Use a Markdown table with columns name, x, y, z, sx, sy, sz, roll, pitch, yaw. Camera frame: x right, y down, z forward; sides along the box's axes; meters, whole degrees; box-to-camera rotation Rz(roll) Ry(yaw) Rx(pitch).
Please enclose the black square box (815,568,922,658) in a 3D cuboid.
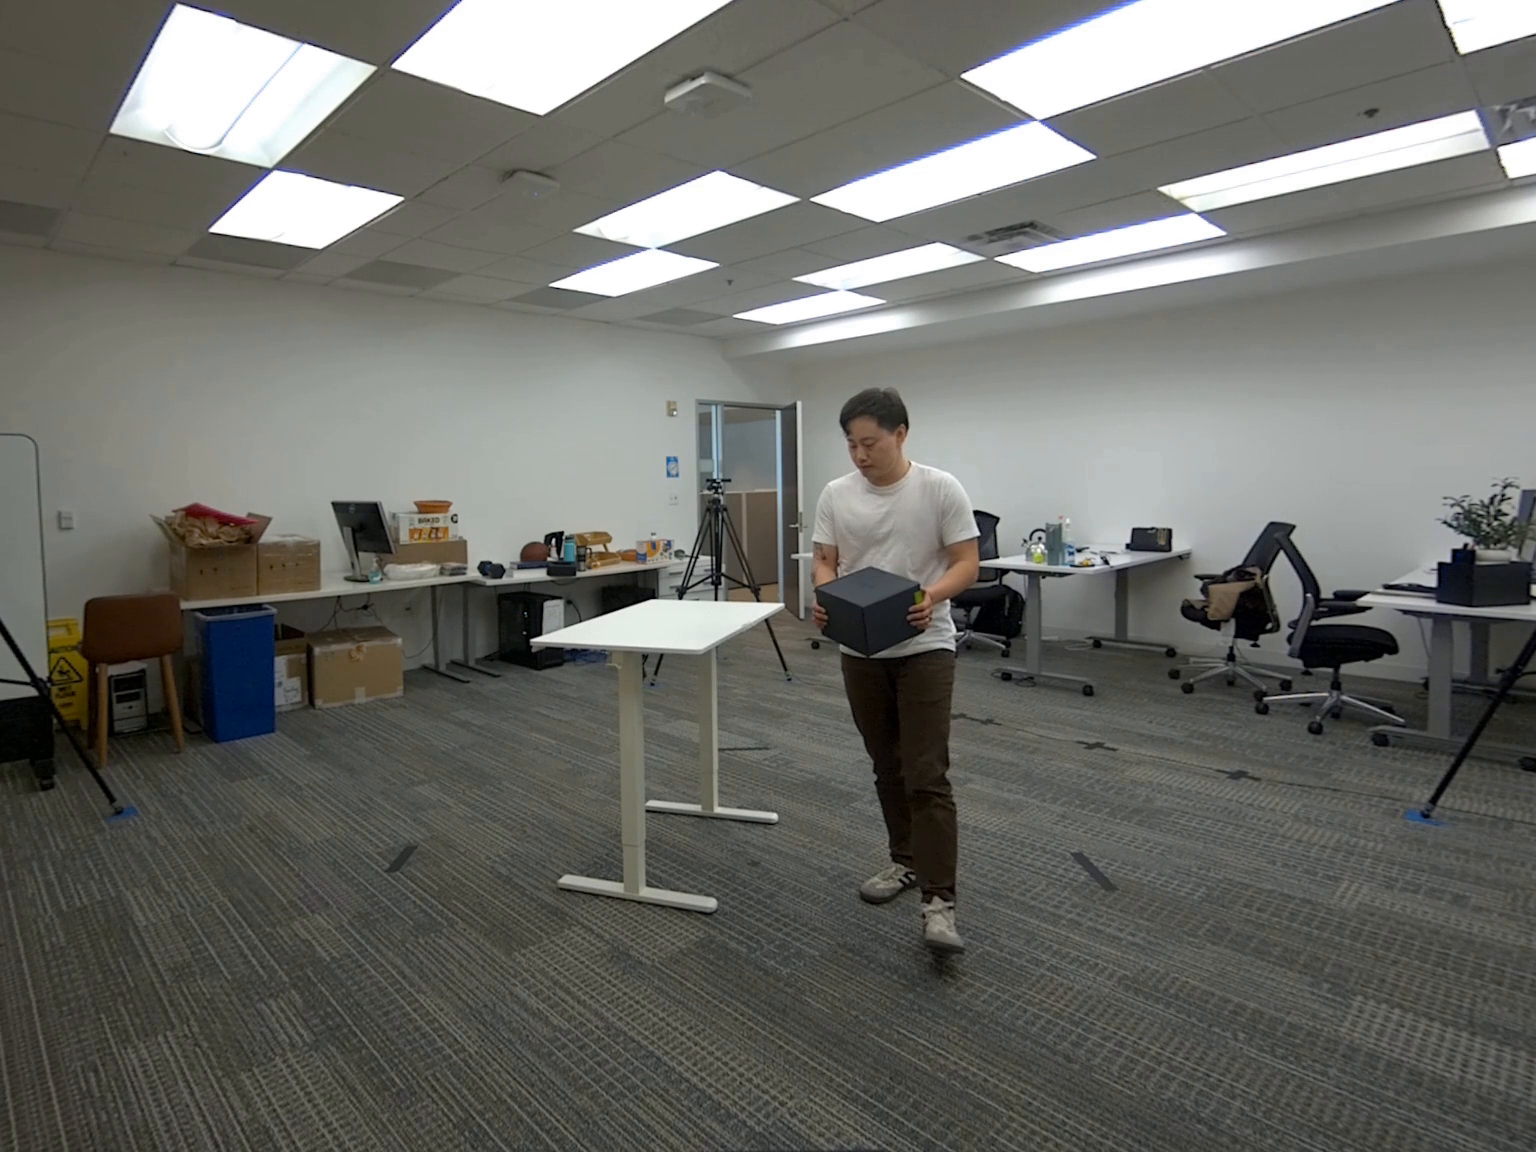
| name | x | y | z | sx | sy | sz | roll | pitch | yaw |
| --- | --- | --- | --- | --- | --- | --- | --- | --- | --- |
| black square box | 0.290 | 0.100 | 2.488 | 0.214 | 0.153 | 0.235 | -20 | 21 | -27 |
